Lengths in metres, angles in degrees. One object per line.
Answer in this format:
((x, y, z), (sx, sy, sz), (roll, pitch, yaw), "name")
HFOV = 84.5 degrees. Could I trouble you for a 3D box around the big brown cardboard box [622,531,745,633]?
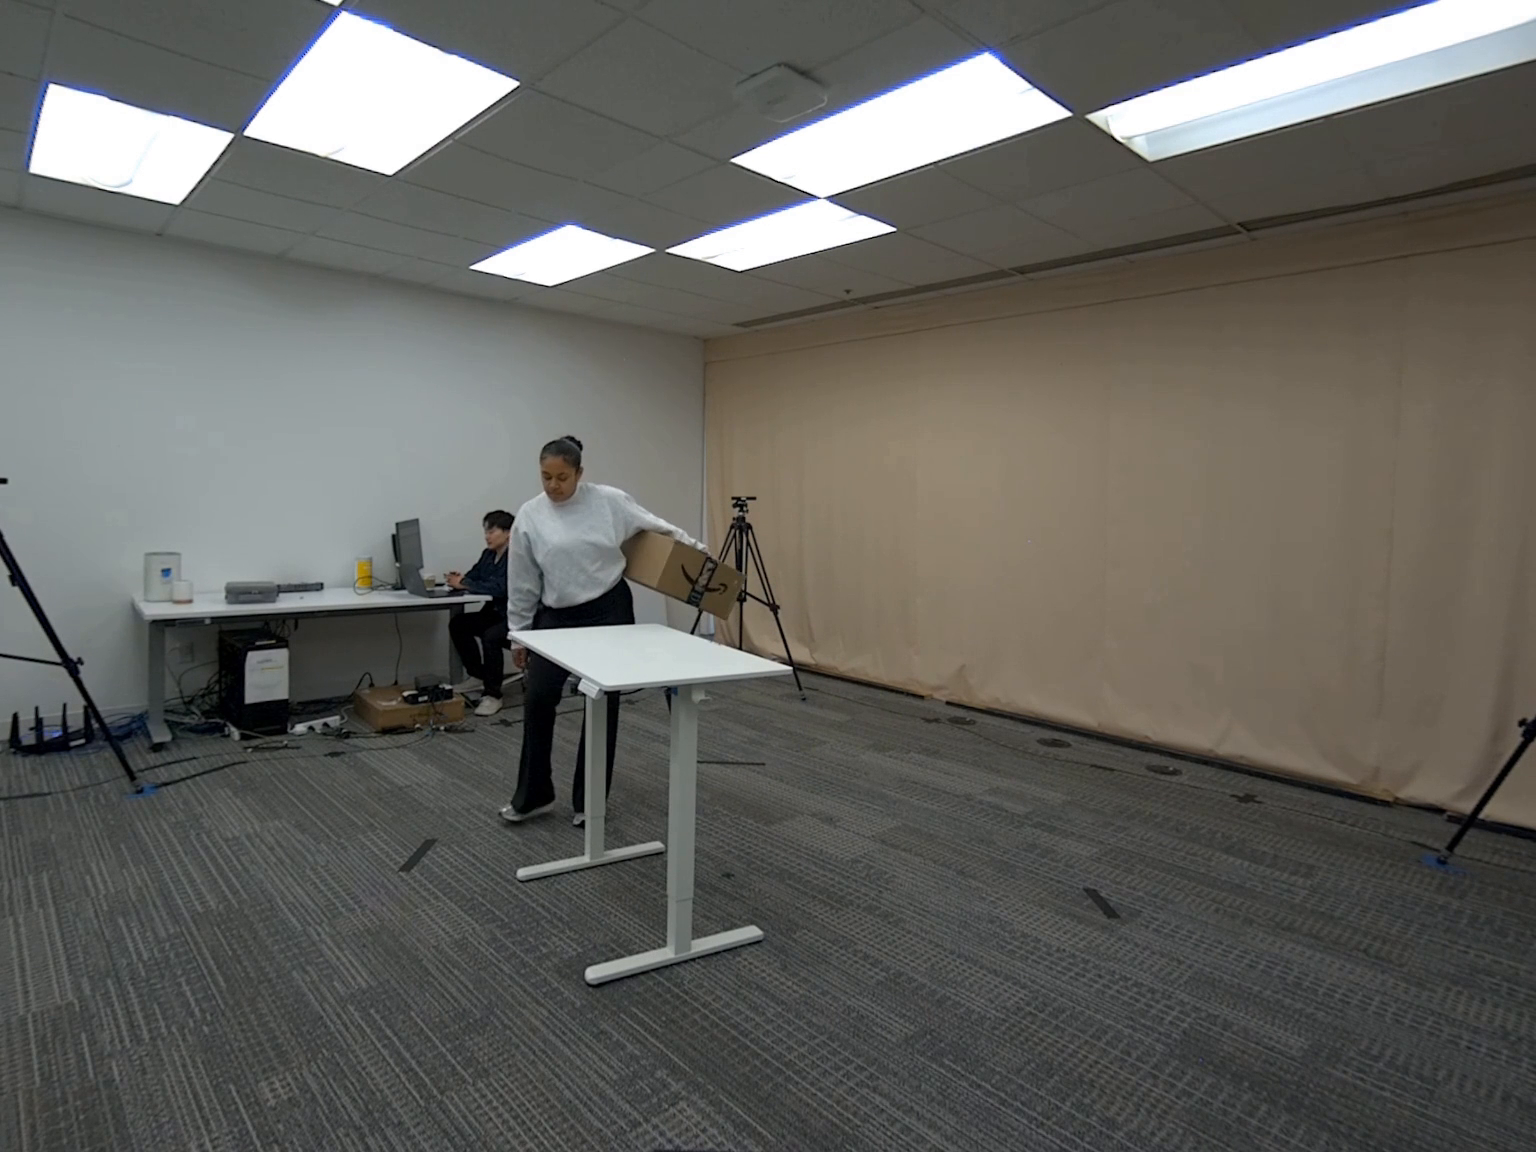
((-0.459, -0.028, 3.722), (0.405, 0.233, 0.606), (28, -7, -39), "big brown cardboard box")
